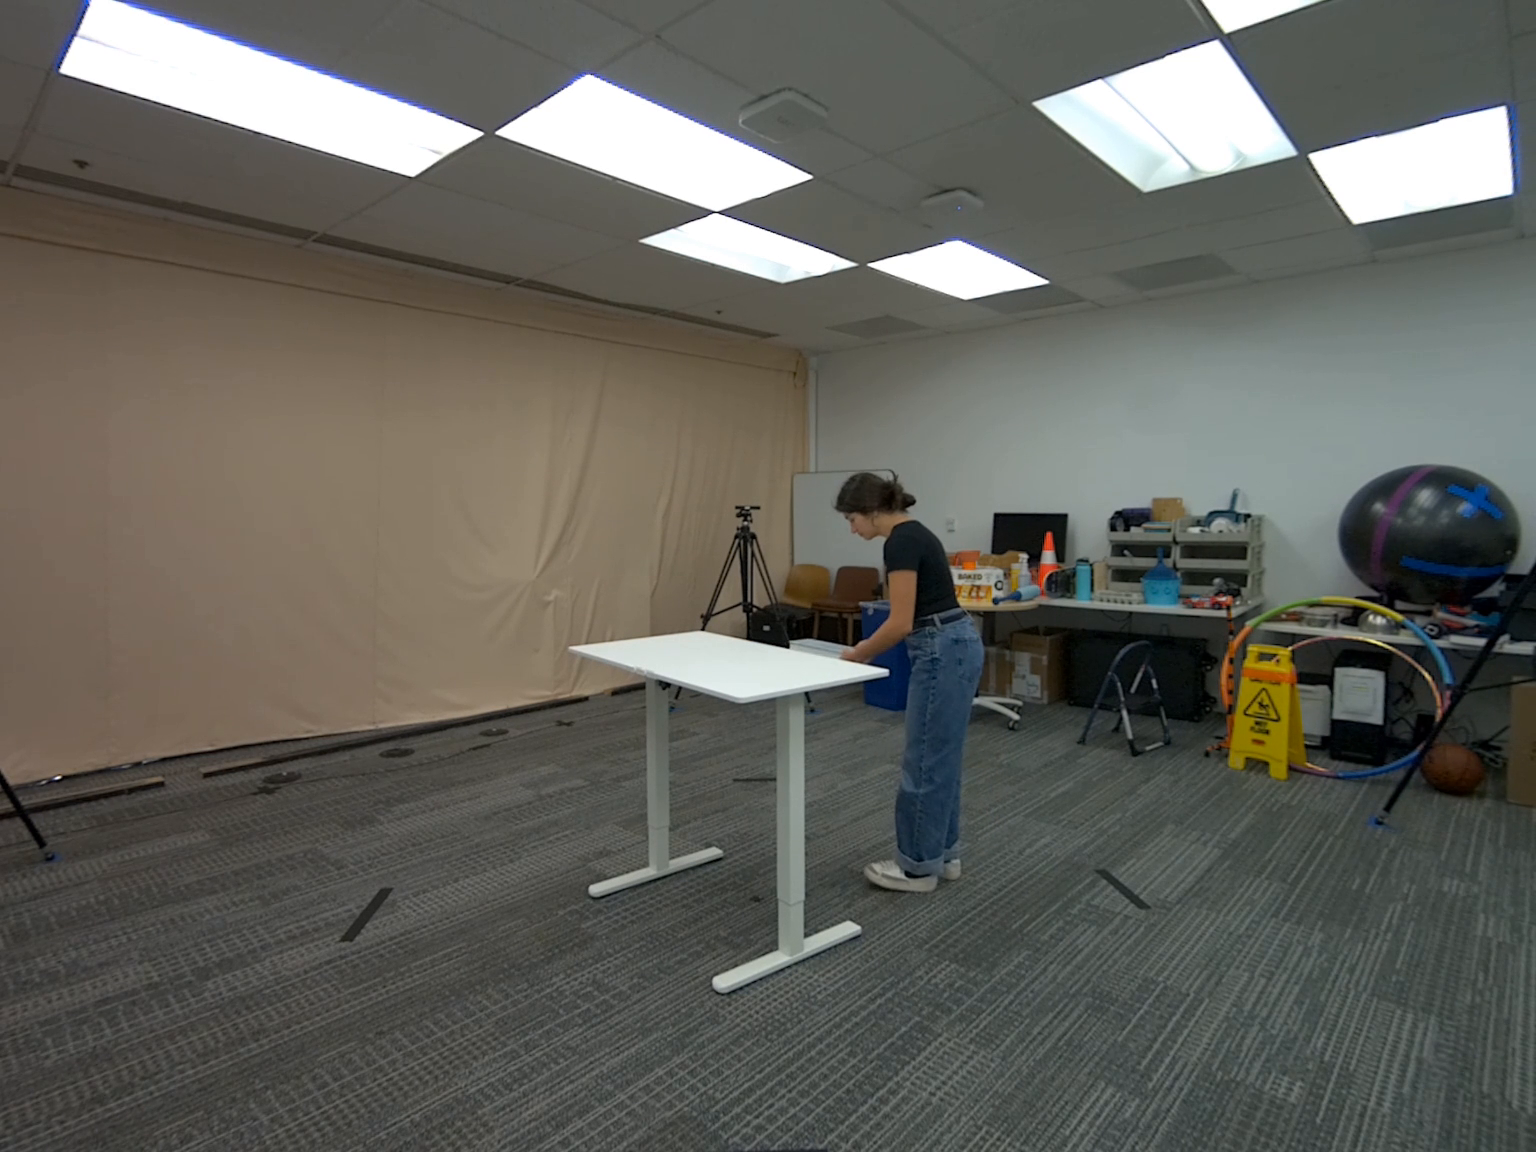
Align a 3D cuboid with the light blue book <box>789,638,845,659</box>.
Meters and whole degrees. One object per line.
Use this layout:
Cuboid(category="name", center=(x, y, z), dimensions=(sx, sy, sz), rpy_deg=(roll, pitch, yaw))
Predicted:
Cuboid(category="light blue book", center=(0.233, 0.299, 3.255), dimensions=(0.269, 0.059, 0.186), rpy_deg=(8, 4, 29))
